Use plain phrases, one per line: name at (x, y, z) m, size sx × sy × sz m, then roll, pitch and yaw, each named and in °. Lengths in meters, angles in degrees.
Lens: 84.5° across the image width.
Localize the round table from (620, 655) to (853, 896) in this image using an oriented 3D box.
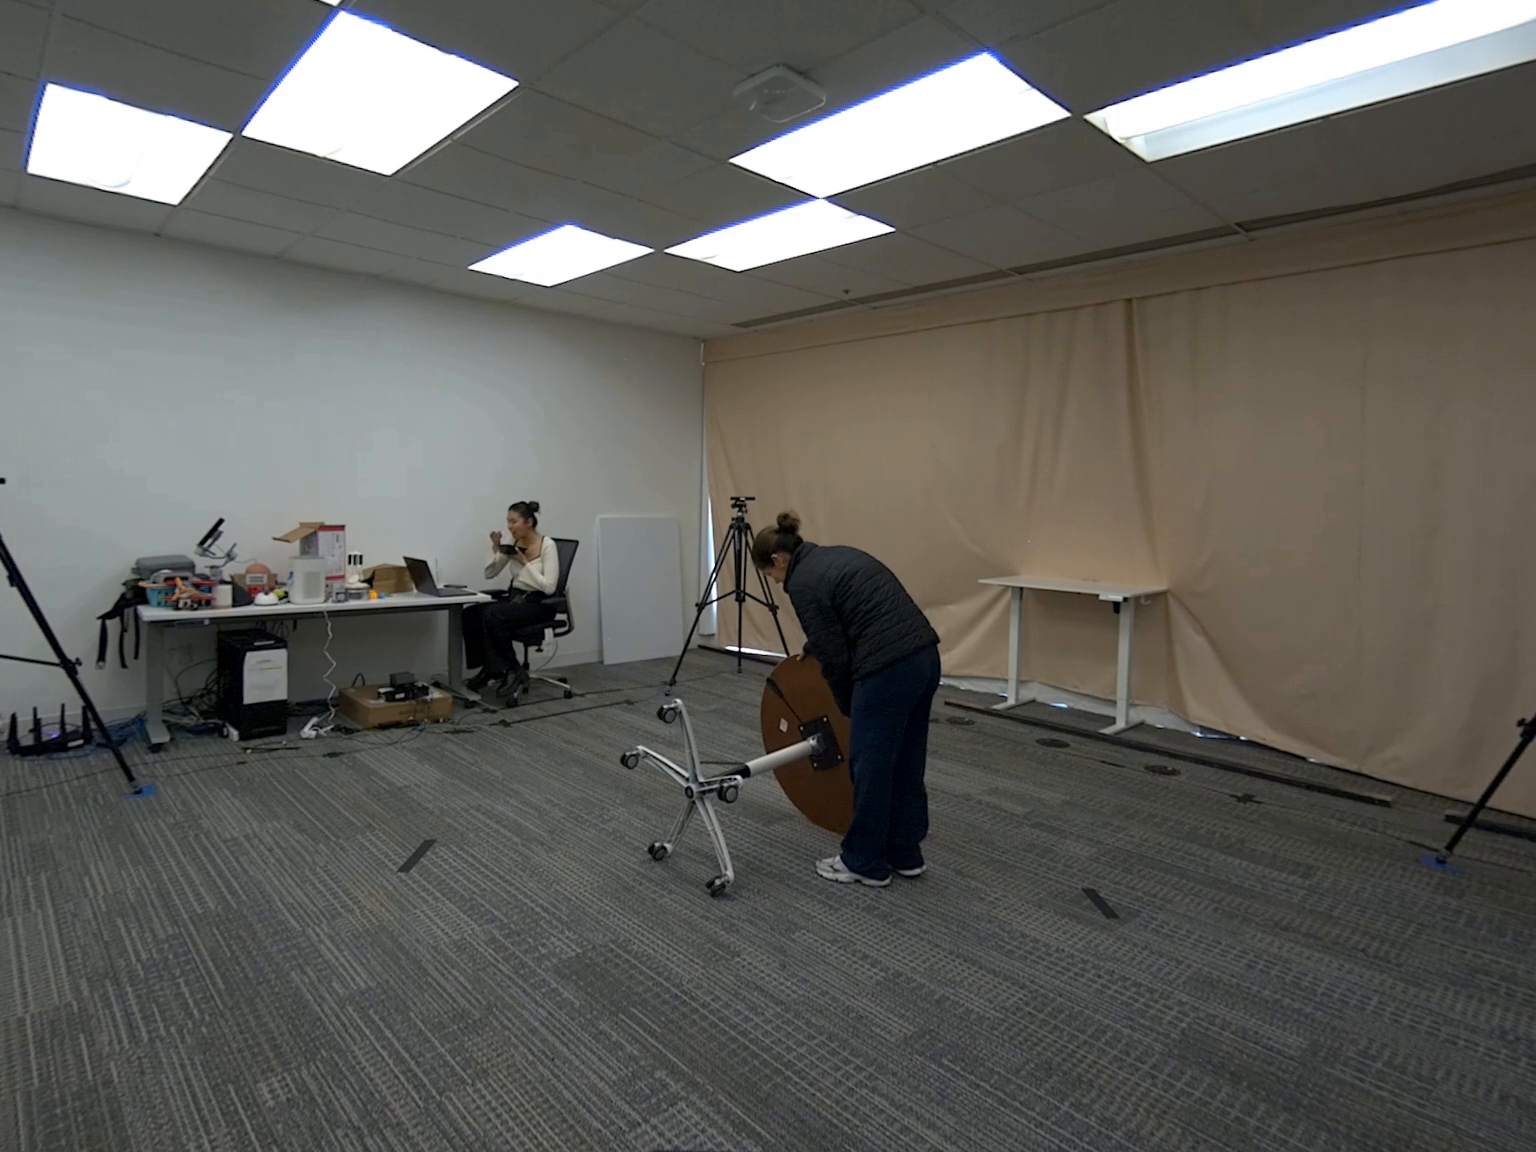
round table at (-0.055, 0.752, 3.281) m, size 0.771 × 0.780 × 0.805 m, roll -11°, pitch 11°, yaw -41°
